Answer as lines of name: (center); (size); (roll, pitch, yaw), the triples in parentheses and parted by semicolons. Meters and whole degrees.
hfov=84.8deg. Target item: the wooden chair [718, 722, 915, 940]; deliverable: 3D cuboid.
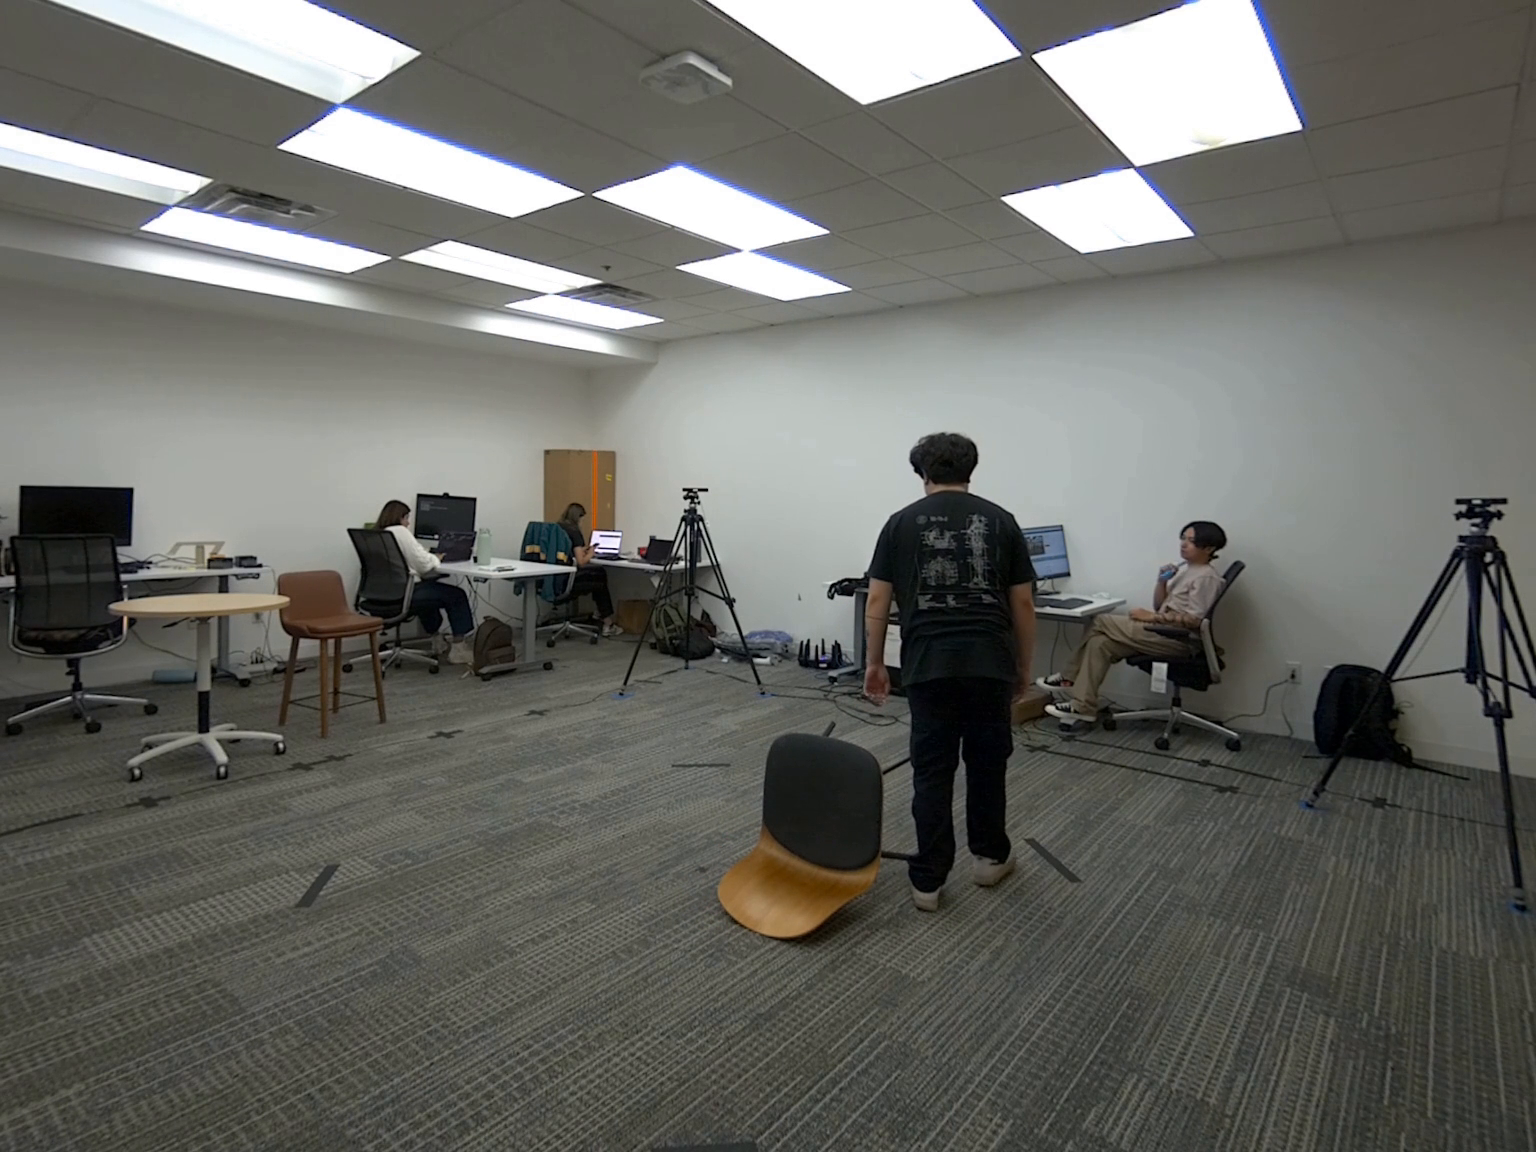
wooden chair: (0.191, 0.832, 3.004); (0.493, 0.521, 0.854); (4, 6, 34)
